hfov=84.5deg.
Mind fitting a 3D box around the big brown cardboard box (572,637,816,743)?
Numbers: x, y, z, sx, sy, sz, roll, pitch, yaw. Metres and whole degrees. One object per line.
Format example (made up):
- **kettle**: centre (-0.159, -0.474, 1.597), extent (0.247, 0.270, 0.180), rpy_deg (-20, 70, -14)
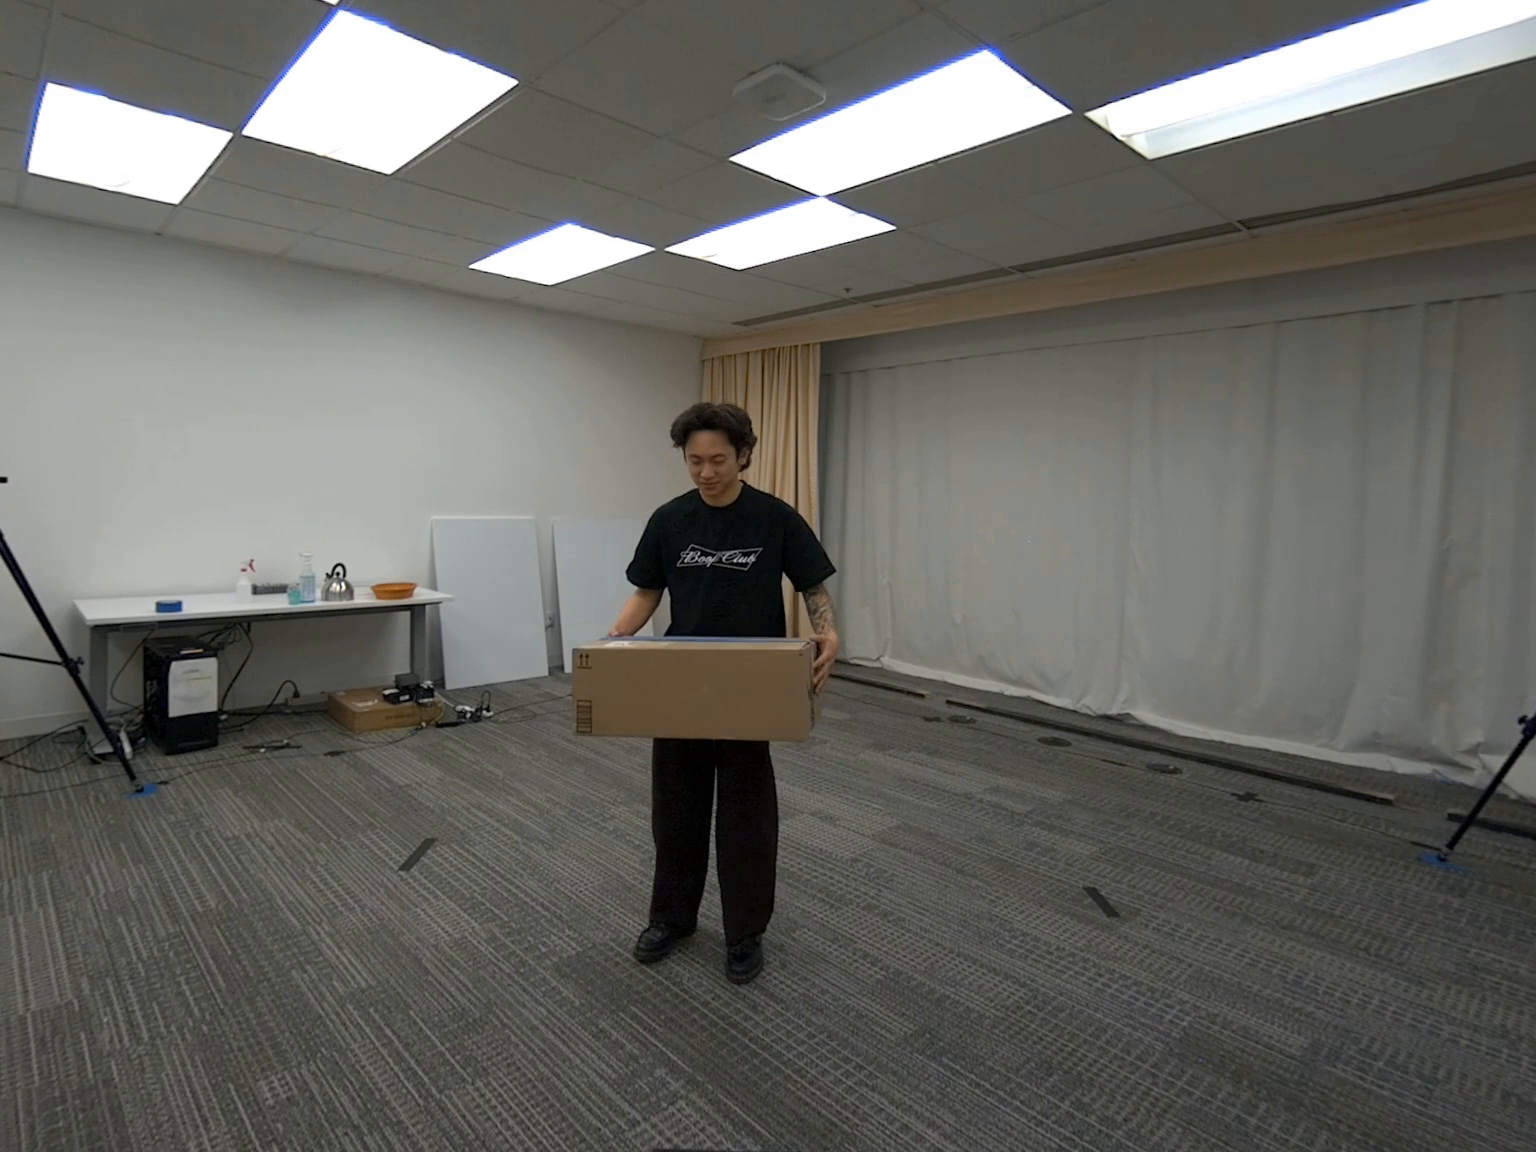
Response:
- **big brown cardboard box**: centre (-0.182, 0.275, 2.198), extent (0.594, 0.233, 0.414), rpy_deg (1, 0, 9)
